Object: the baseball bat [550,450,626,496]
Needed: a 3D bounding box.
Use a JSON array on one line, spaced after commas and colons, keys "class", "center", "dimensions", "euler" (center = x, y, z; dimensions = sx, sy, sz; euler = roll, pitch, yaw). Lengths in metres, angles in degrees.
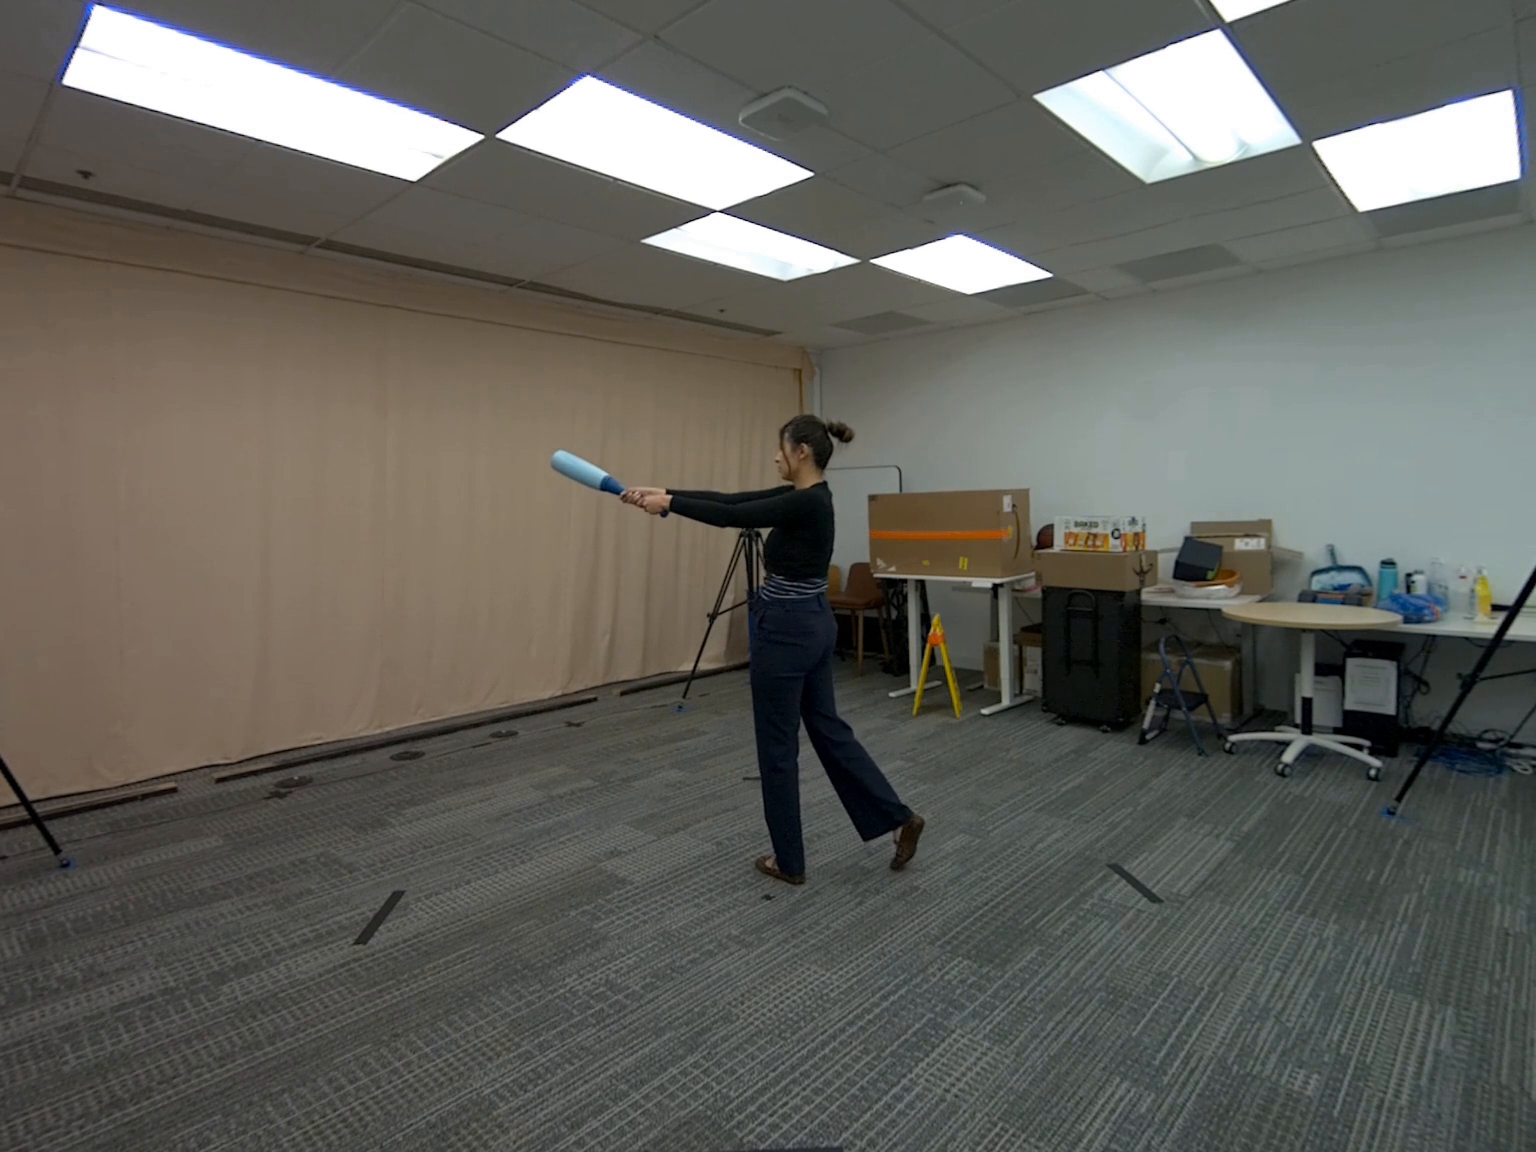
[{"class": "baseball bat", "center": [-0.588, -0.338, 3.238], "dimensions": [0.557, 0.089, 0.087], "euler": [27, 14, 21]}]
